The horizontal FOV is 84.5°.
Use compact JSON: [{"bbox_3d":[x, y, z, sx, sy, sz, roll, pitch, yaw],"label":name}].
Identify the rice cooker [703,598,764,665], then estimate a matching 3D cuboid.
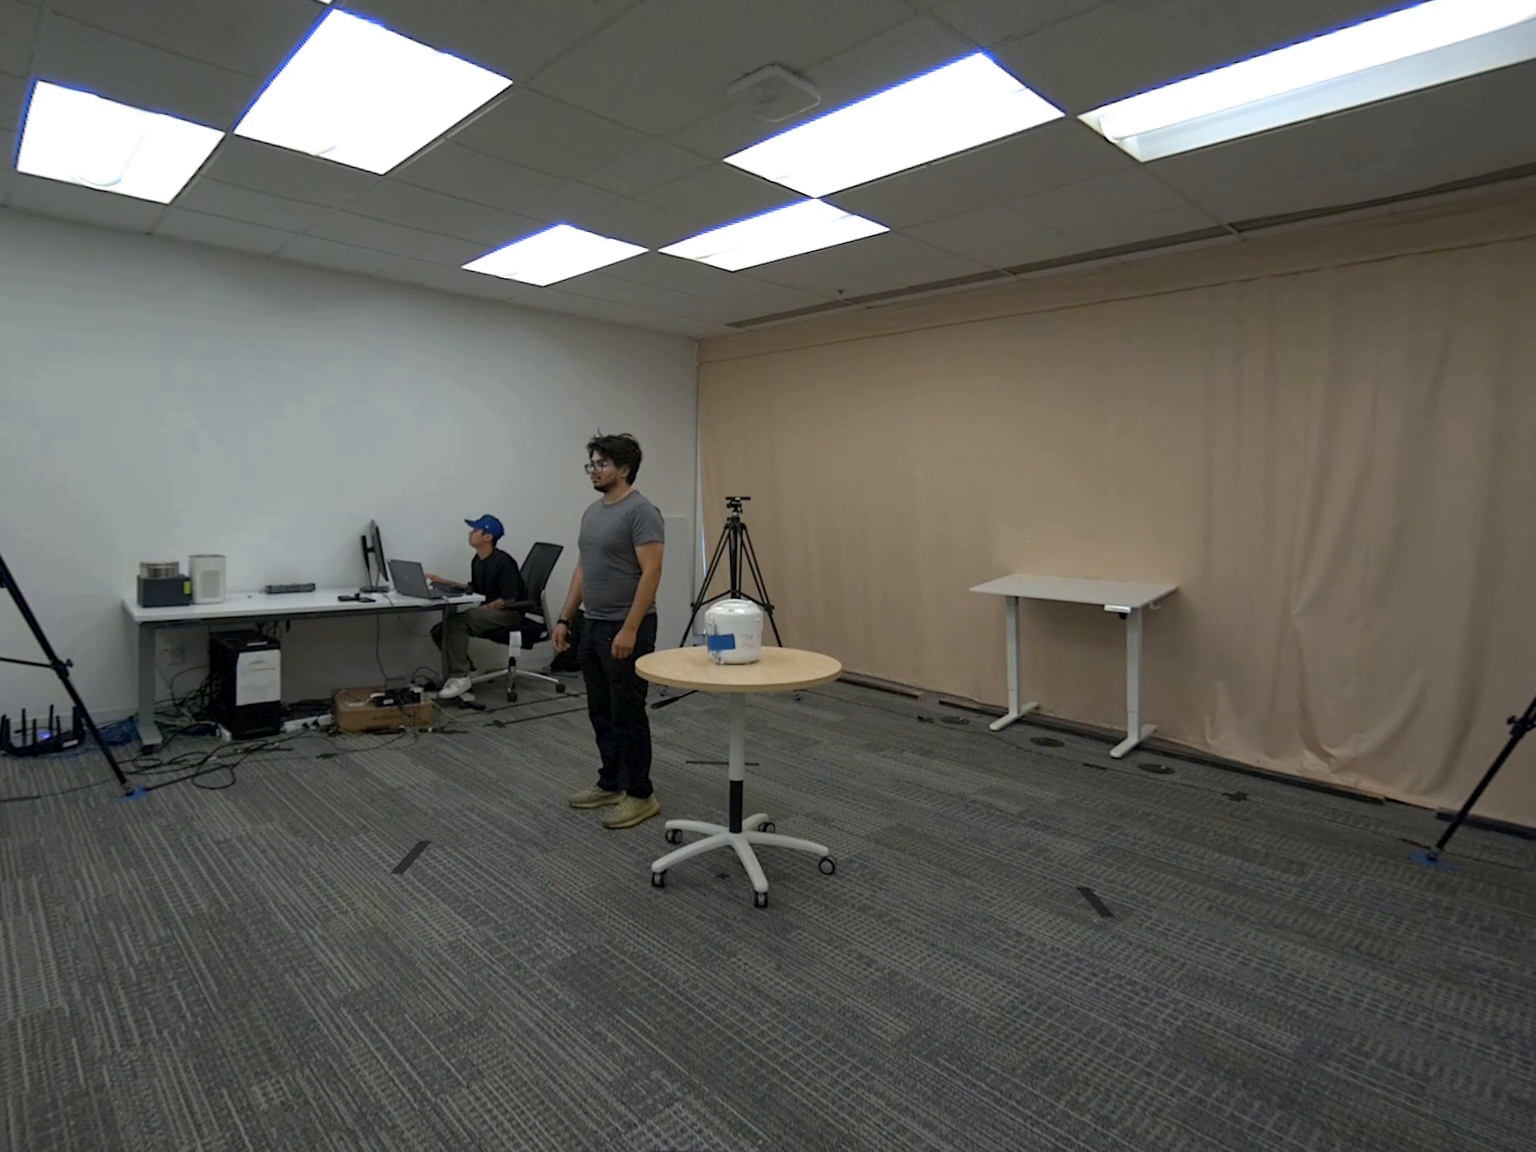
[{"bbox_3d":[-0.135,0.204,3.173,0.220,0.232,0.219,1,4,-5],"label":"rice cooker"}]
